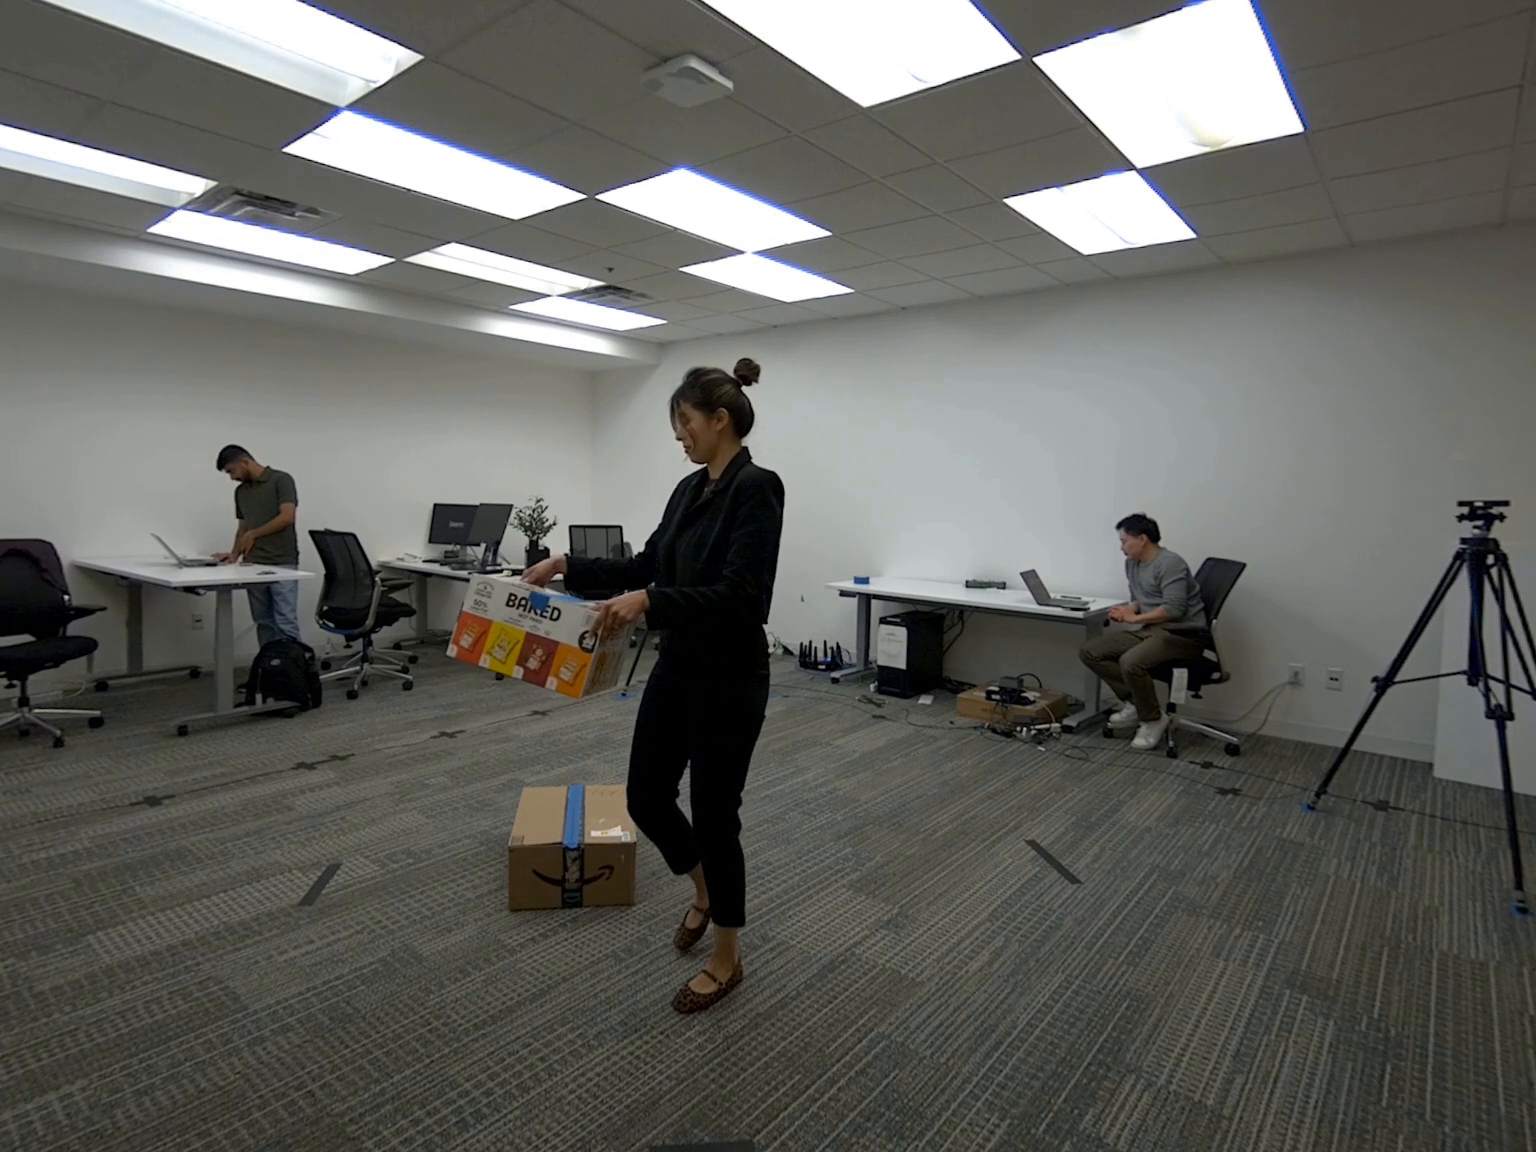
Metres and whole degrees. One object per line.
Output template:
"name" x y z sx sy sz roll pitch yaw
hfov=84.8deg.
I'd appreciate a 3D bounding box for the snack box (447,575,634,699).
"snack box" -0.558 0.141 2.164 0.343 0.206 0.401 16 -3 5
